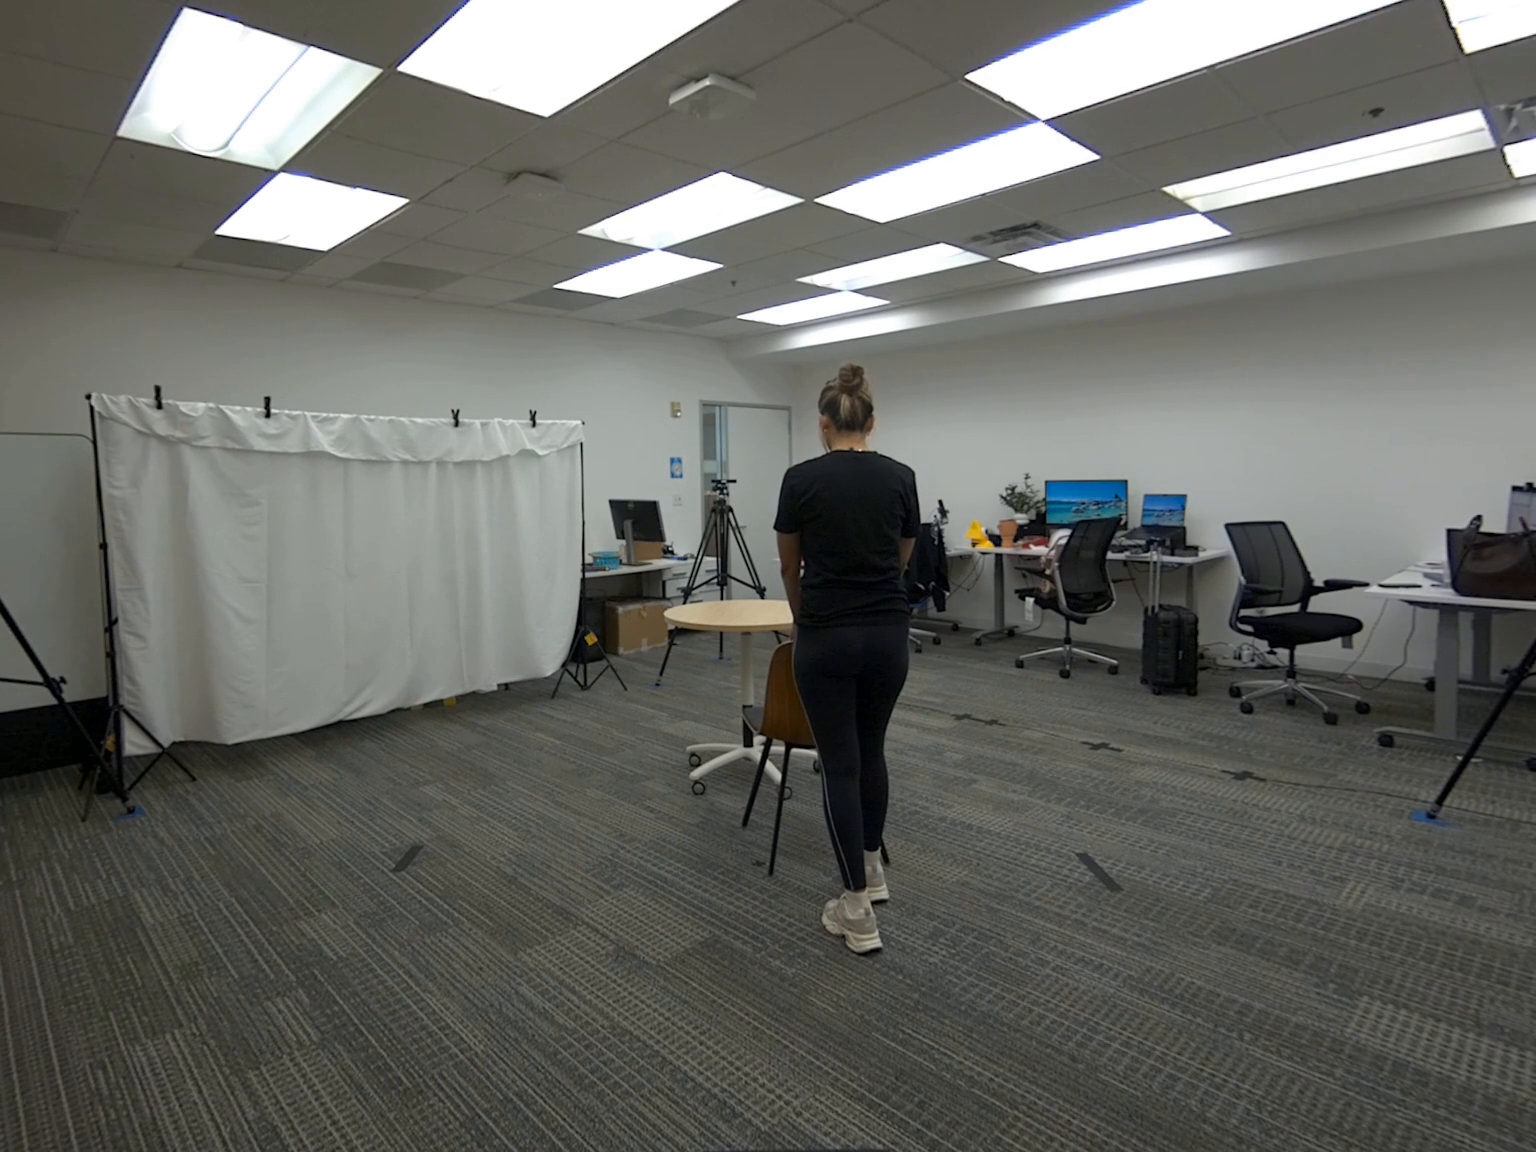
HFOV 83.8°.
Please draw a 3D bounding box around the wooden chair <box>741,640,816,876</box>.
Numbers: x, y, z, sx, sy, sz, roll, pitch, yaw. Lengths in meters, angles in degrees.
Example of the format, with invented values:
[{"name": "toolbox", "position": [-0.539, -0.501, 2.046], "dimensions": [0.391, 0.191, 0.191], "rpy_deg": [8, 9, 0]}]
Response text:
[{"name": "wooden chair", "position": [0.157, 0.604, 3.243], "dimensions": [0.473, 0.871, 0.533], "rpy_deg": [-3, 9, -12]}]
